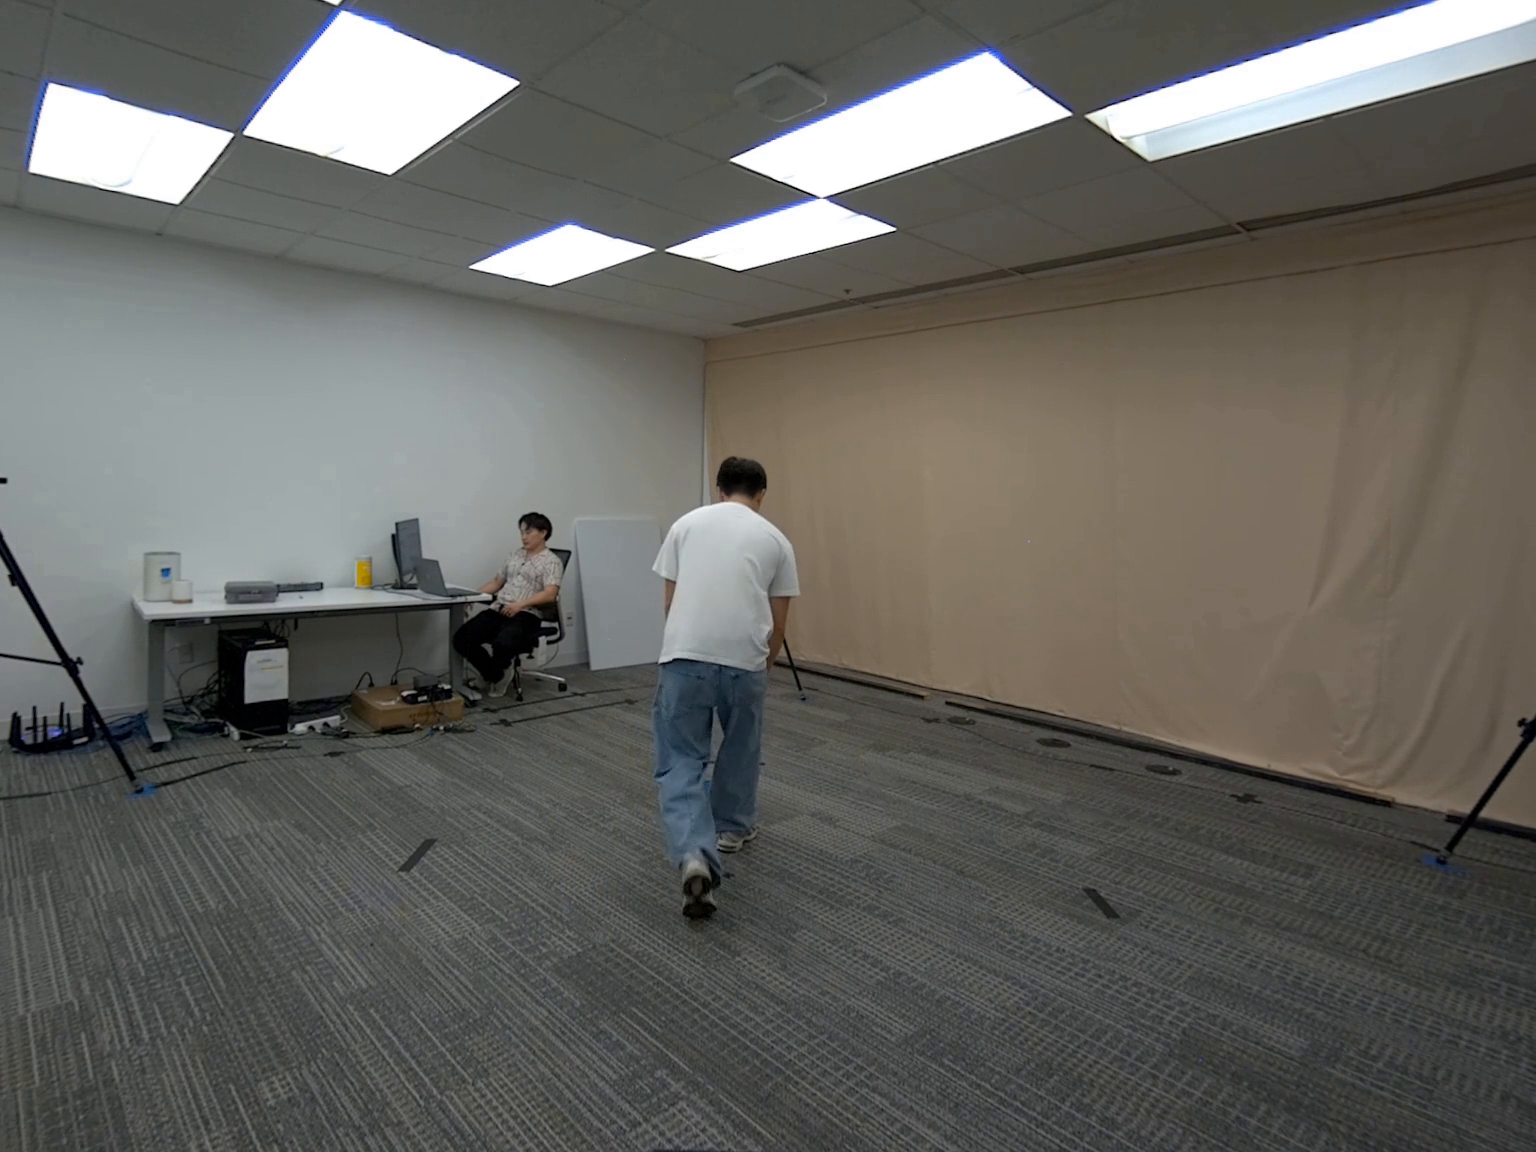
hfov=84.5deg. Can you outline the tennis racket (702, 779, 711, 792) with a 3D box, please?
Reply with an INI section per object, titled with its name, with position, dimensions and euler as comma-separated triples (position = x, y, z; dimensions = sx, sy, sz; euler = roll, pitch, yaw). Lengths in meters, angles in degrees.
[tennis racket]
position = -0.213, 1.021, 3.942
dimensions = 0.211, 0.032, 0.439
euler = 1, 4, -18
